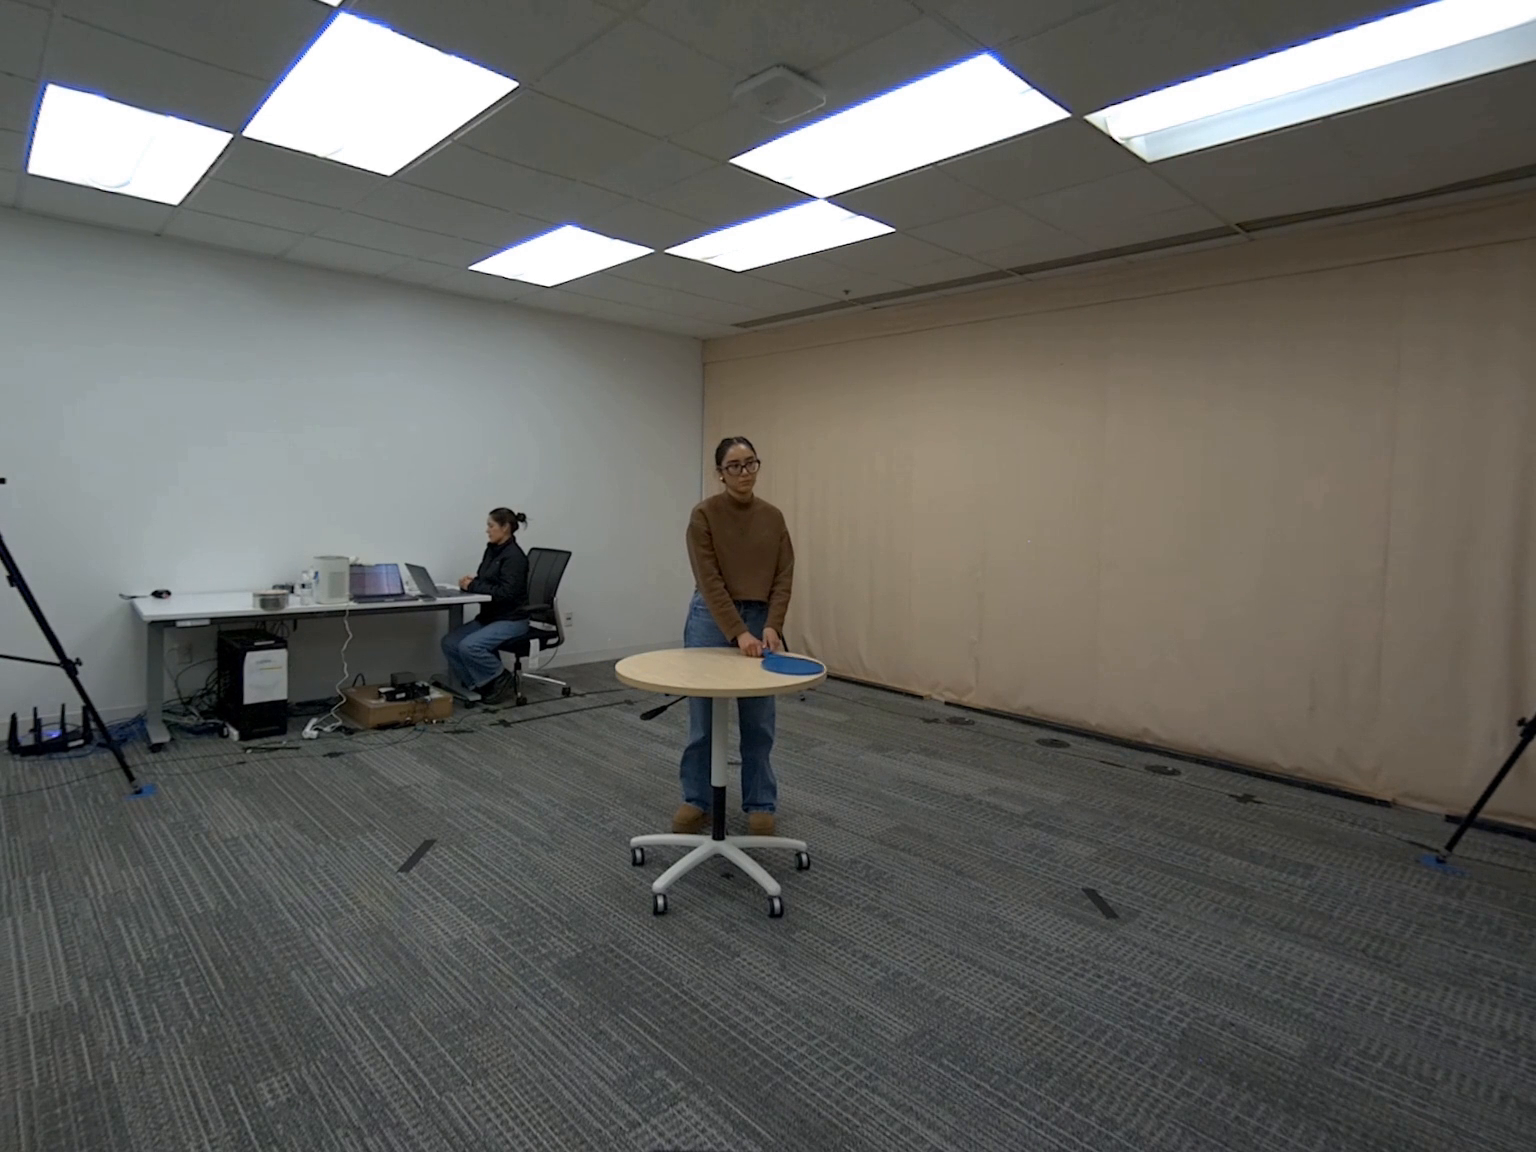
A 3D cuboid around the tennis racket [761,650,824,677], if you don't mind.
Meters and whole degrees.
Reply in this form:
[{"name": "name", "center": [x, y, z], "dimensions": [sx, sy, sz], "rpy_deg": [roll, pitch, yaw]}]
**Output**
[{"name": "tennis racket", "center": [0.050, 0.319, 3.109], "dimensions": [0.210, 0.031, 0.442], "rpy_deg": [-3, 8, -22]}]
